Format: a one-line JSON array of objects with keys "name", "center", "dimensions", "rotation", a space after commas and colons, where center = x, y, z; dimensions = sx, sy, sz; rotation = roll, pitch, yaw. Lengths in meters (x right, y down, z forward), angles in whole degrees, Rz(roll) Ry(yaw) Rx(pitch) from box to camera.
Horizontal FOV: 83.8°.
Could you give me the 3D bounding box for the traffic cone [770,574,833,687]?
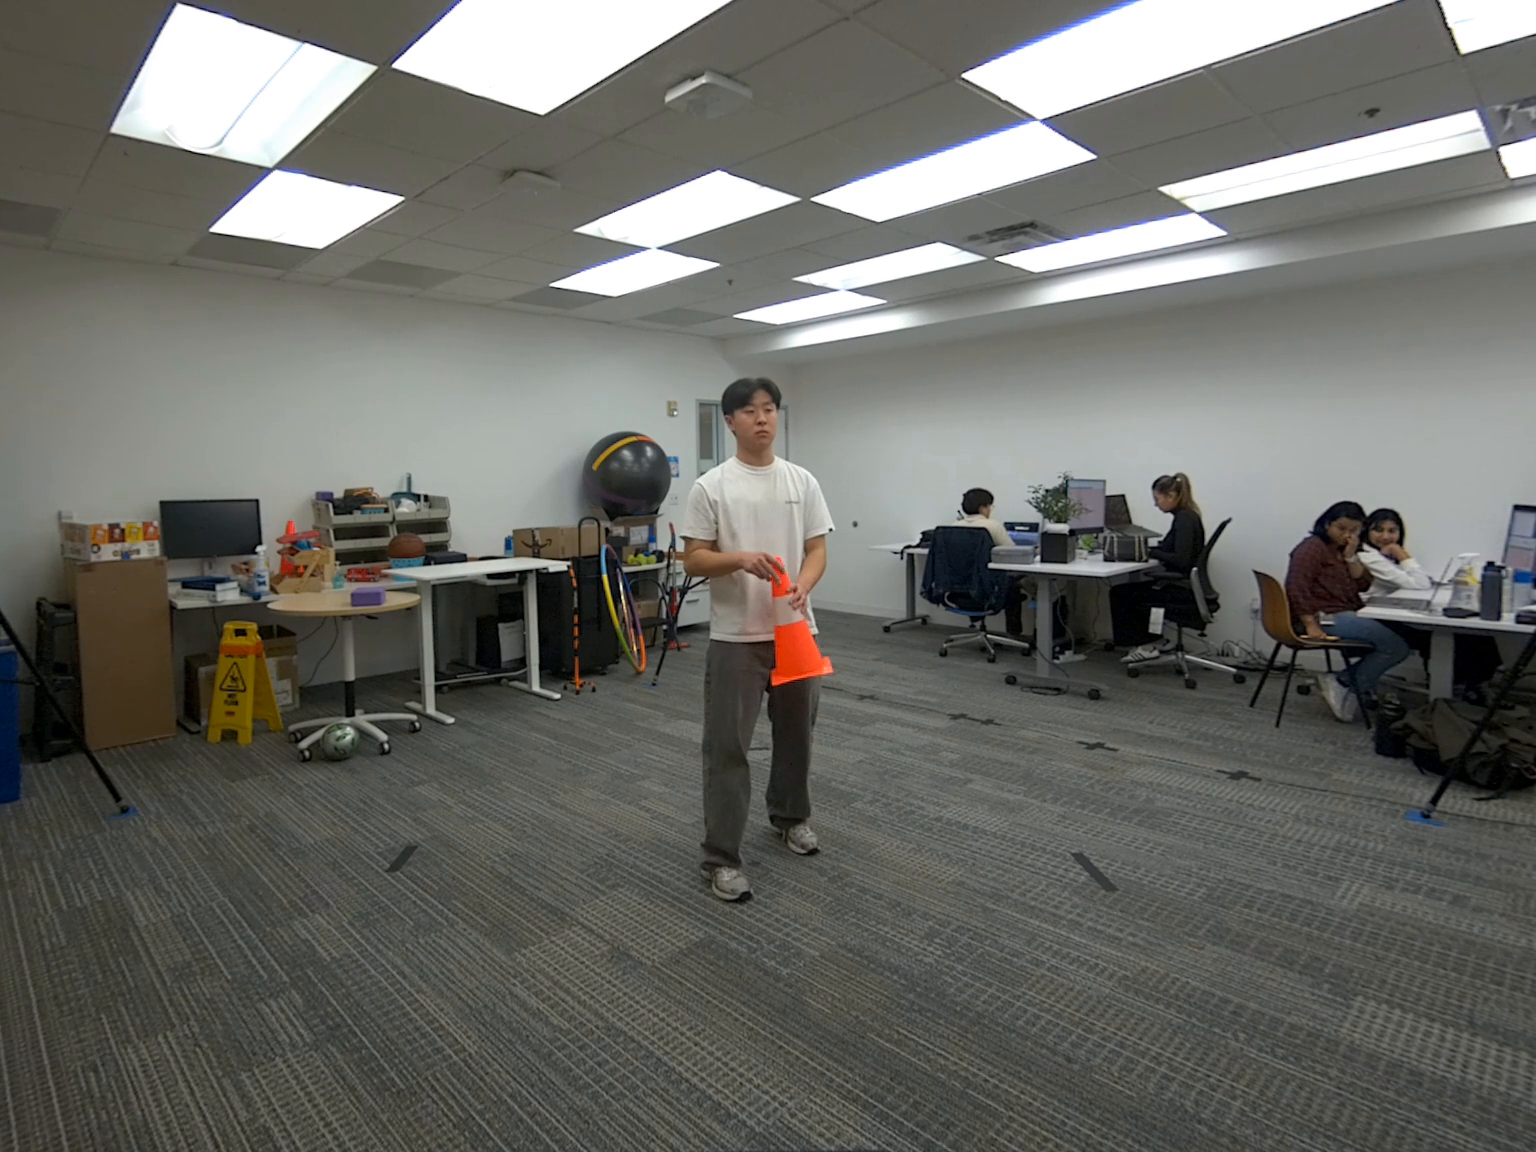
[{"name": "traffic cone", "center": [0.058, 0.133, 2.761], "dimensions": [0.205, 0.383, 0.203], "rotation": [-13, 2, 1]}]
